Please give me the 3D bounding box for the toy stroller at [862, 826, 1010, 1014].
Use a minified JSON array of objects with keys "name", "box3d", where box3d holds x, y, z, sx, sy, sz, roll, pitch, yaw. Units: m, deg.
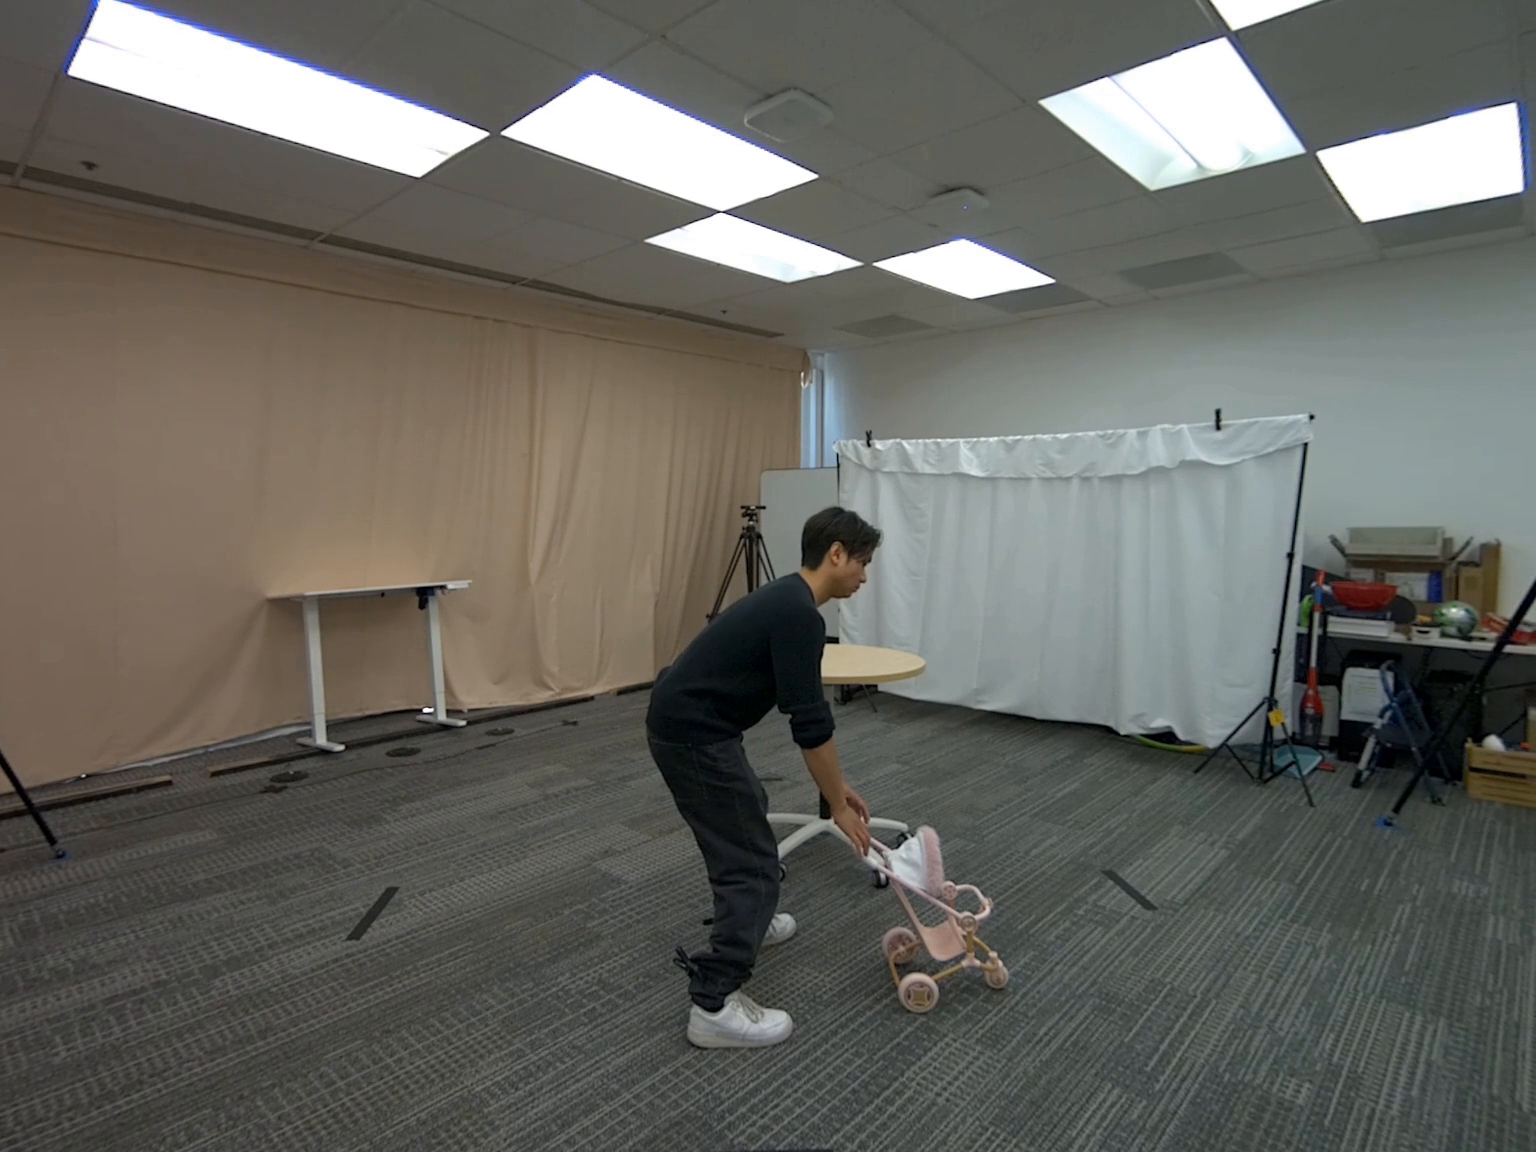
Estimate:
[{"name":"toy stroller","box3d":[0.485,0.971,2.414,0.343,0.534,0.280,-15,2,6]}]
